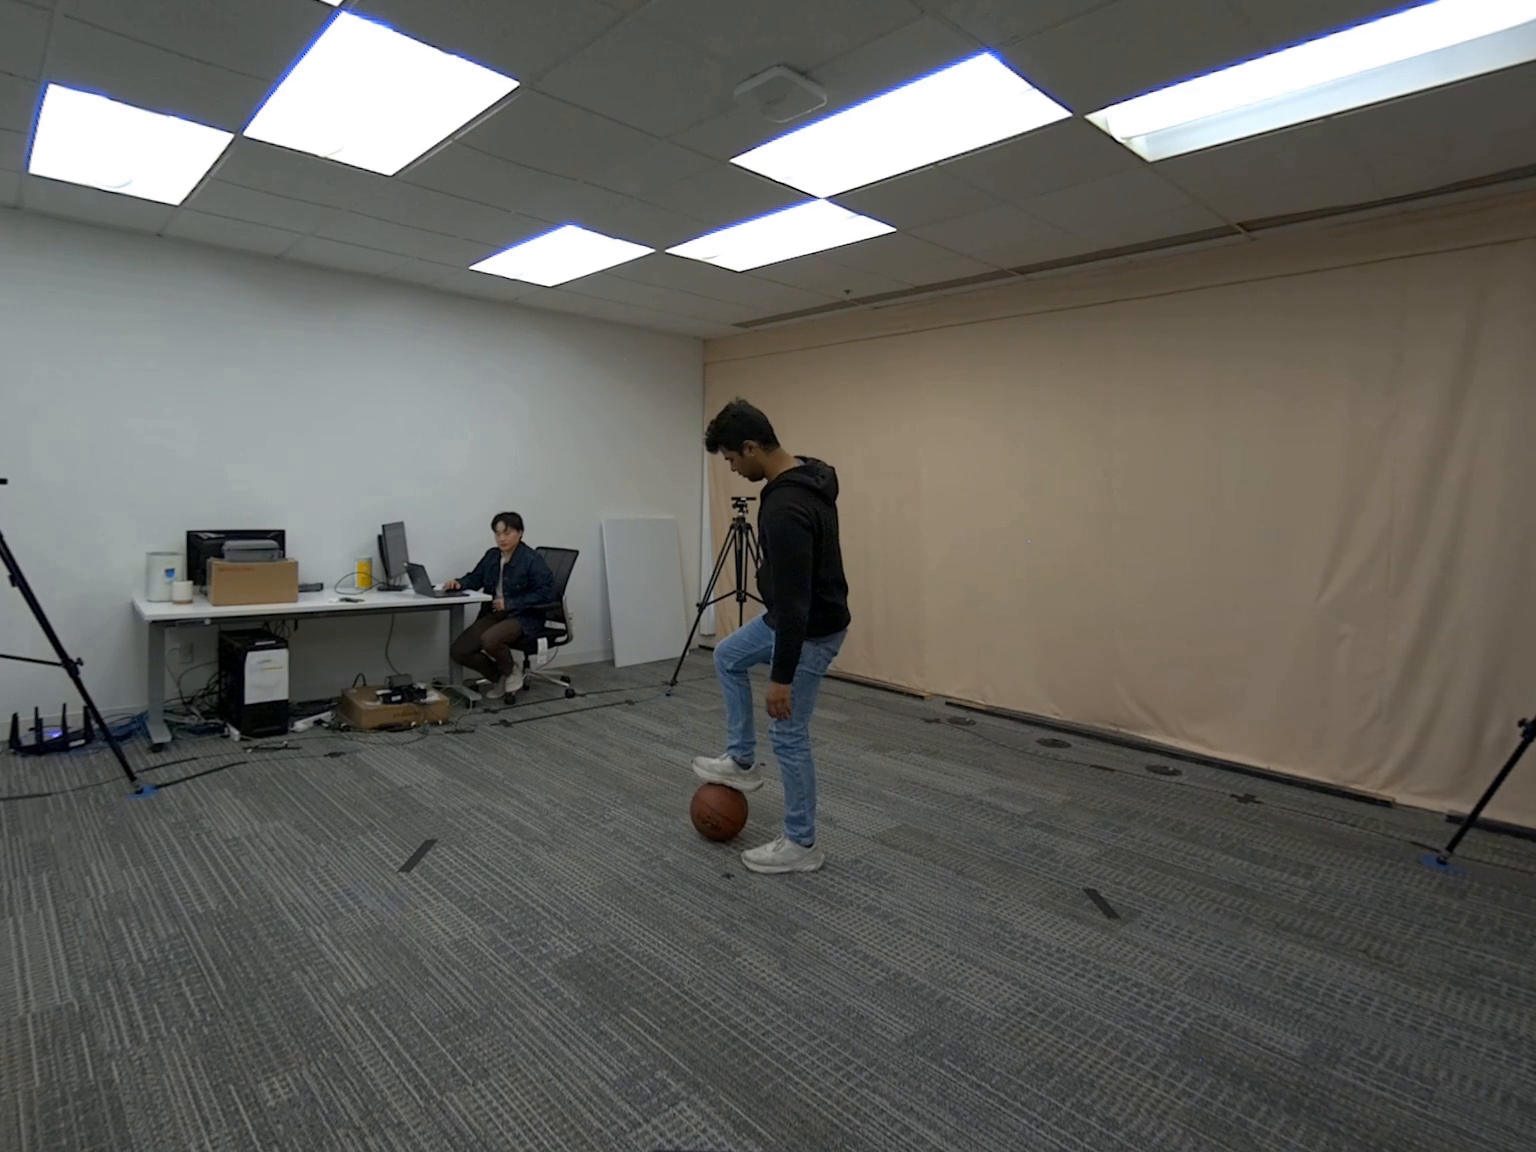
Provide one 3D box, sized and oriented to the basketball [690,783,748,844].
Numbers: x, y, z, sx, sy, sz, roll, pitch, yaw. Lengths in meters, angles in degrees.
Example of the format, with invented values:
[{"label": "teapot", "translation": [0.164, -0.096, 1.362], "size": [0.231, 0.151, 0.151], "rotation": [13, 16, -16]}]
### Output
[{"label": "basketball", "translation": [-0.206, 0.957, 3.446], "size": [0.236, 0.235, 0.237], "rotation": [1, 4, -1]}]
